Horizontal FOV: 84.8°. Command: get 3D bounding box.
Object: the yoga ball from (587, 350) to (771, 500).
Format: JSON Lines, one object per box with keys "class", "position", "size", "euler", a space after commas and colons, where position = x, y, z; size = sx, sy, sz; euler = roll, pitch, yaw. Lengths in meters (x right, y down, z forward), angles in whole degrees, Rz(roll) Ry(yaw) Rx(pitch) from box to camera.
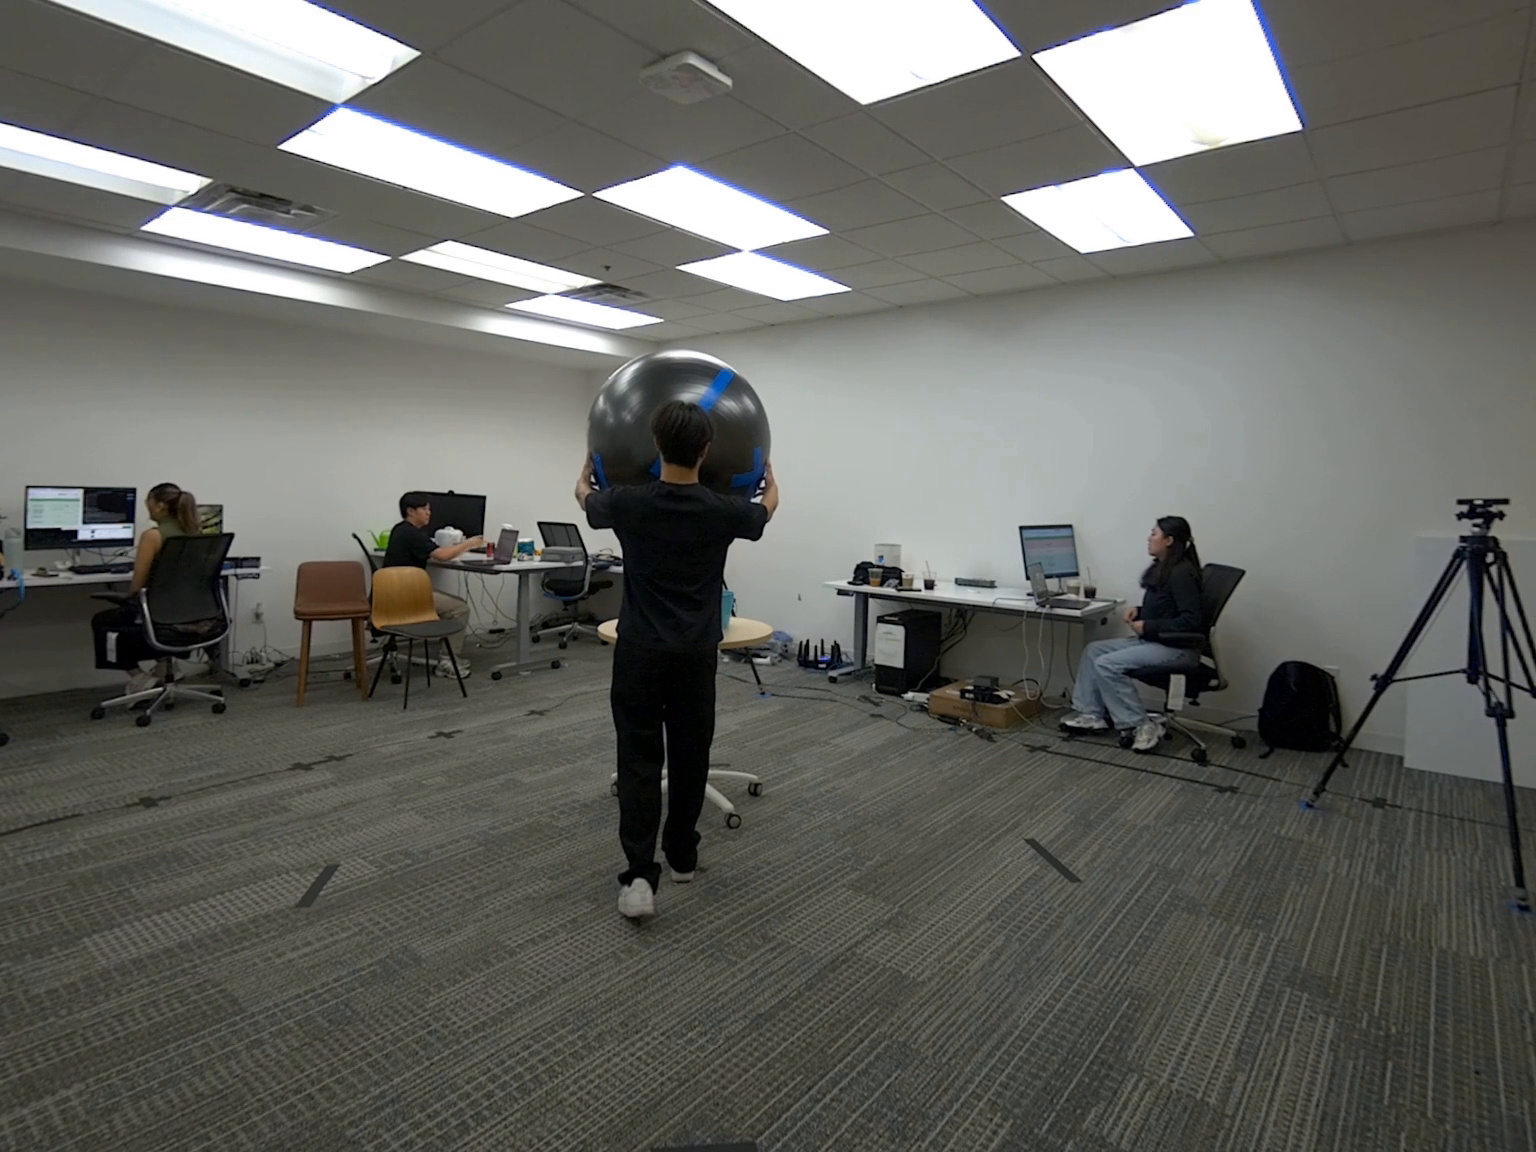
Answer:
{"class": "yoga ball", "position": [-0.378, -0.548, 3.510], "size": [0.757, 0.755, 0.762], "euler": [1, 4, -2]}
